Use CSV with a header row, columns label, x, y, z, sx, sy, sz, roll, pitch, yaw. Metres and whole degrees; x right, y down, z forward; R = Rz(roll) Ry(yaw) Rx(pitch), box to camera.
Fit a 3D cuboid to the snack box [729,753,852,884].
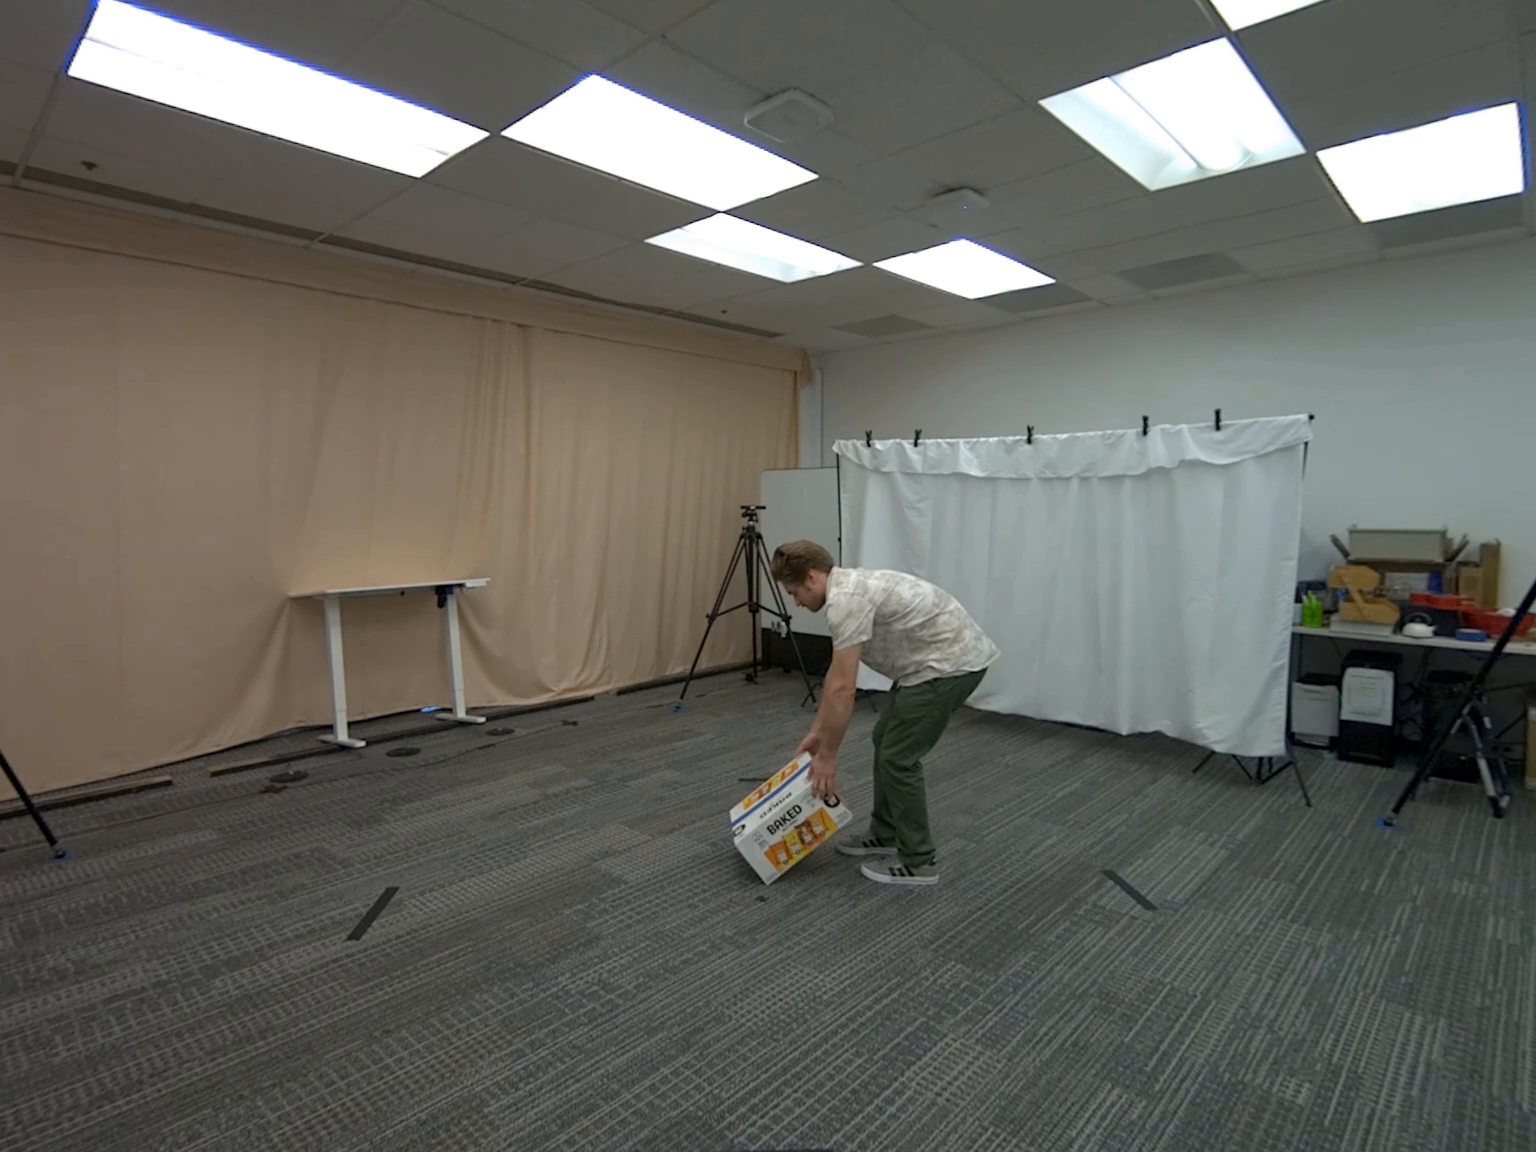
label,x,y,z,sx,sy,sz,roll,pitch,yaw
snack box,0.084,0.920,3.251,0.405,0.205,0.342,-38,6,-1
